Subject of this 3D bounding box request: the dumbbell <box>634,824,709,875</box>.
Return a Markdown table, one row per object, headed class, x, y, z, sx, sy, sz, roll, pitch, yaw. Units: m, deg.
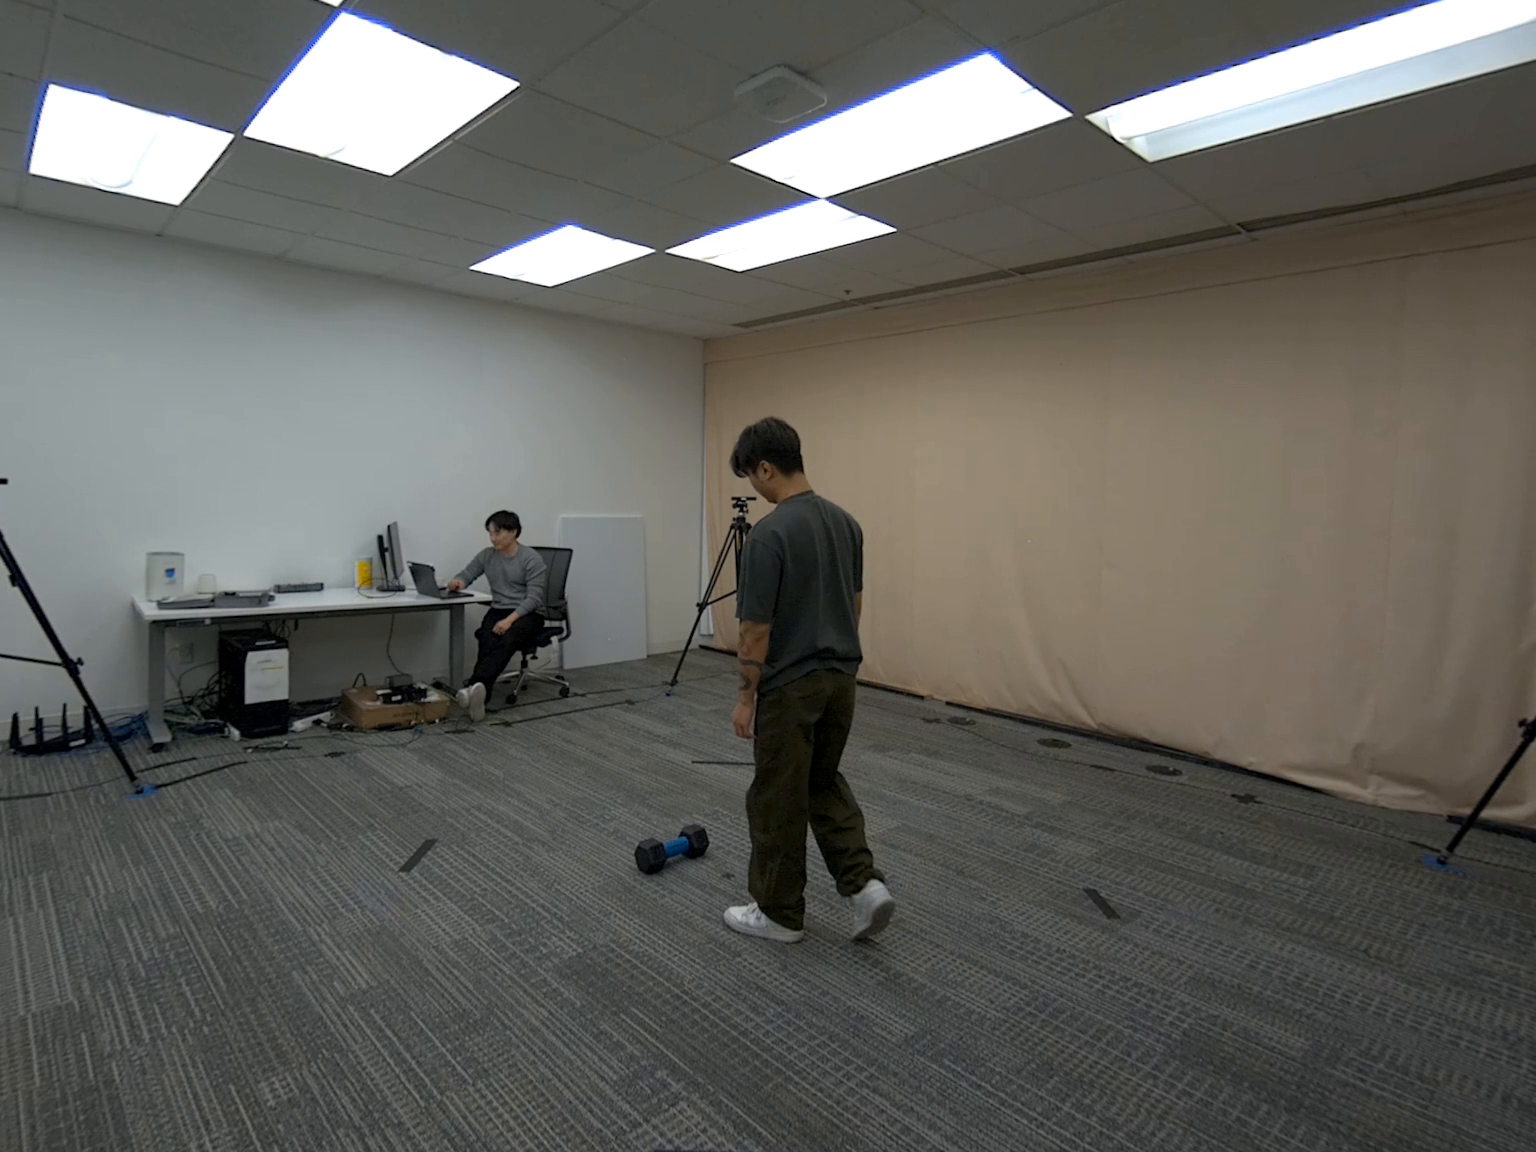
| class | x | y | z | sx | sy | sz | roll | pitch | yaw |
| --- | --- | --- | --- | --- | --- | --- | --- | --- | --- |
| dumbbell | -0.372 | 1.039 | 3.204 | 0.287 | 0.125 | 0.109 | -4 | -24 | -45 |
